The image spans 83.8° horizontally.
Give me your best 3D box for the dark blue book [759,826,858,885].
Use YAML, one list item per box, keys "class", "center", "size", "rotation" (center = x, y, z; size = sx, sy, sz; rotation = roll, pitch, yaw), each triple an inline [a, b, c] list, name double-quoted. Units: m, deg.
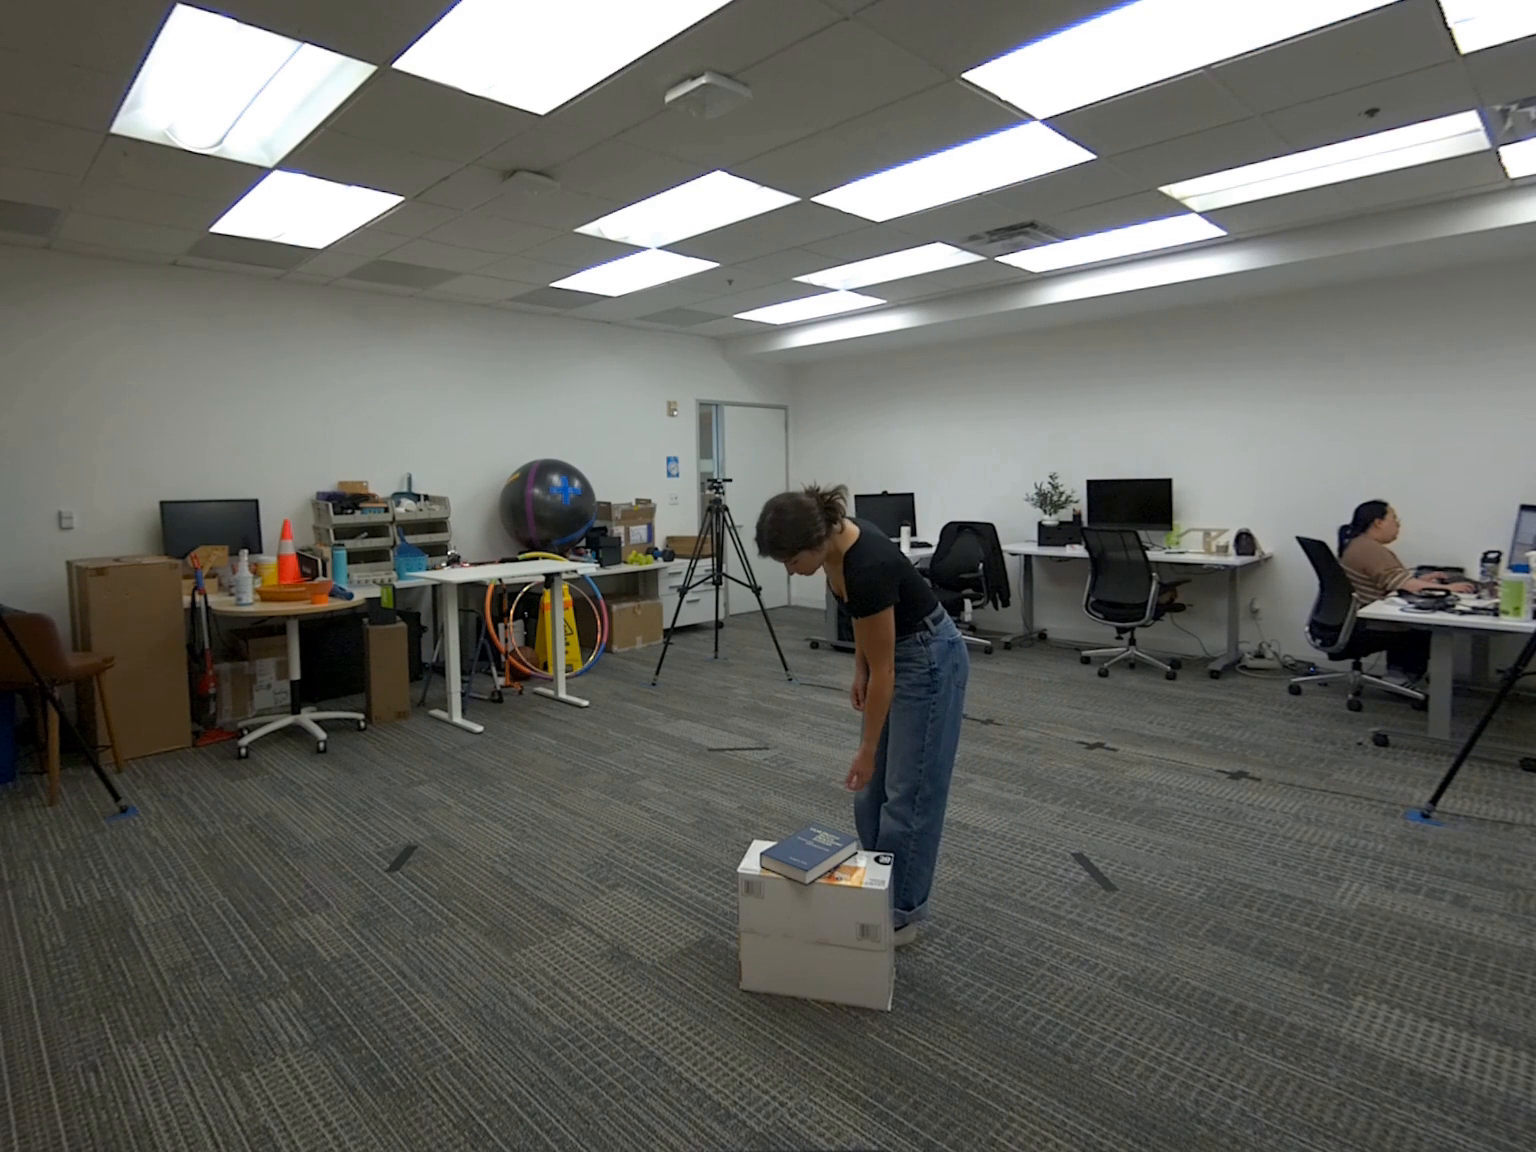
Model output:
- class: "dark blue book"
  center: [0.118, 0.769, 2.368]
  size: [0.168, 0.045, 0.239]
  rotation: [5, 10, 40]
